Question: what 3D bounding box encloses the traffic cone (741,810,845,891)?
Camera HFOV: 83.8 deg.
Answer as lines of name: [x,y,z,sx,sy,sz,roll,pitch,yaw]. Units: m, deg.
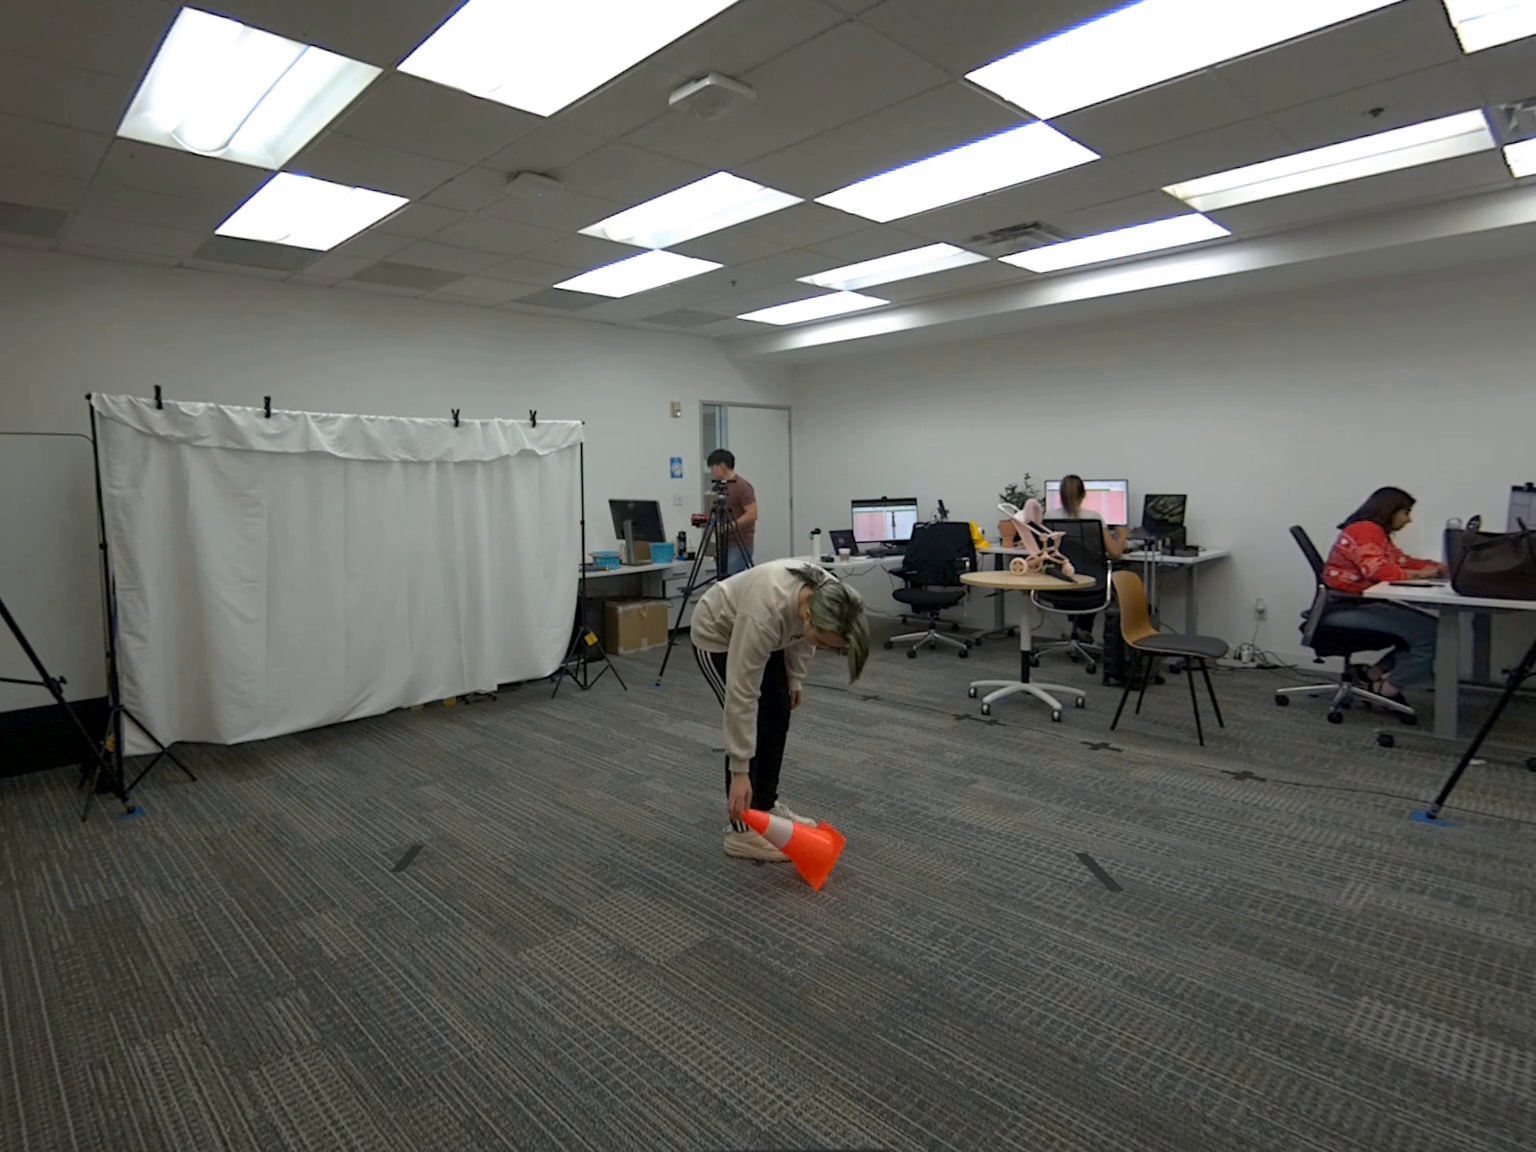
traffic cone: [0.048,0.880,2.923,0.374,0.205,0.208,34,-6,-20]
